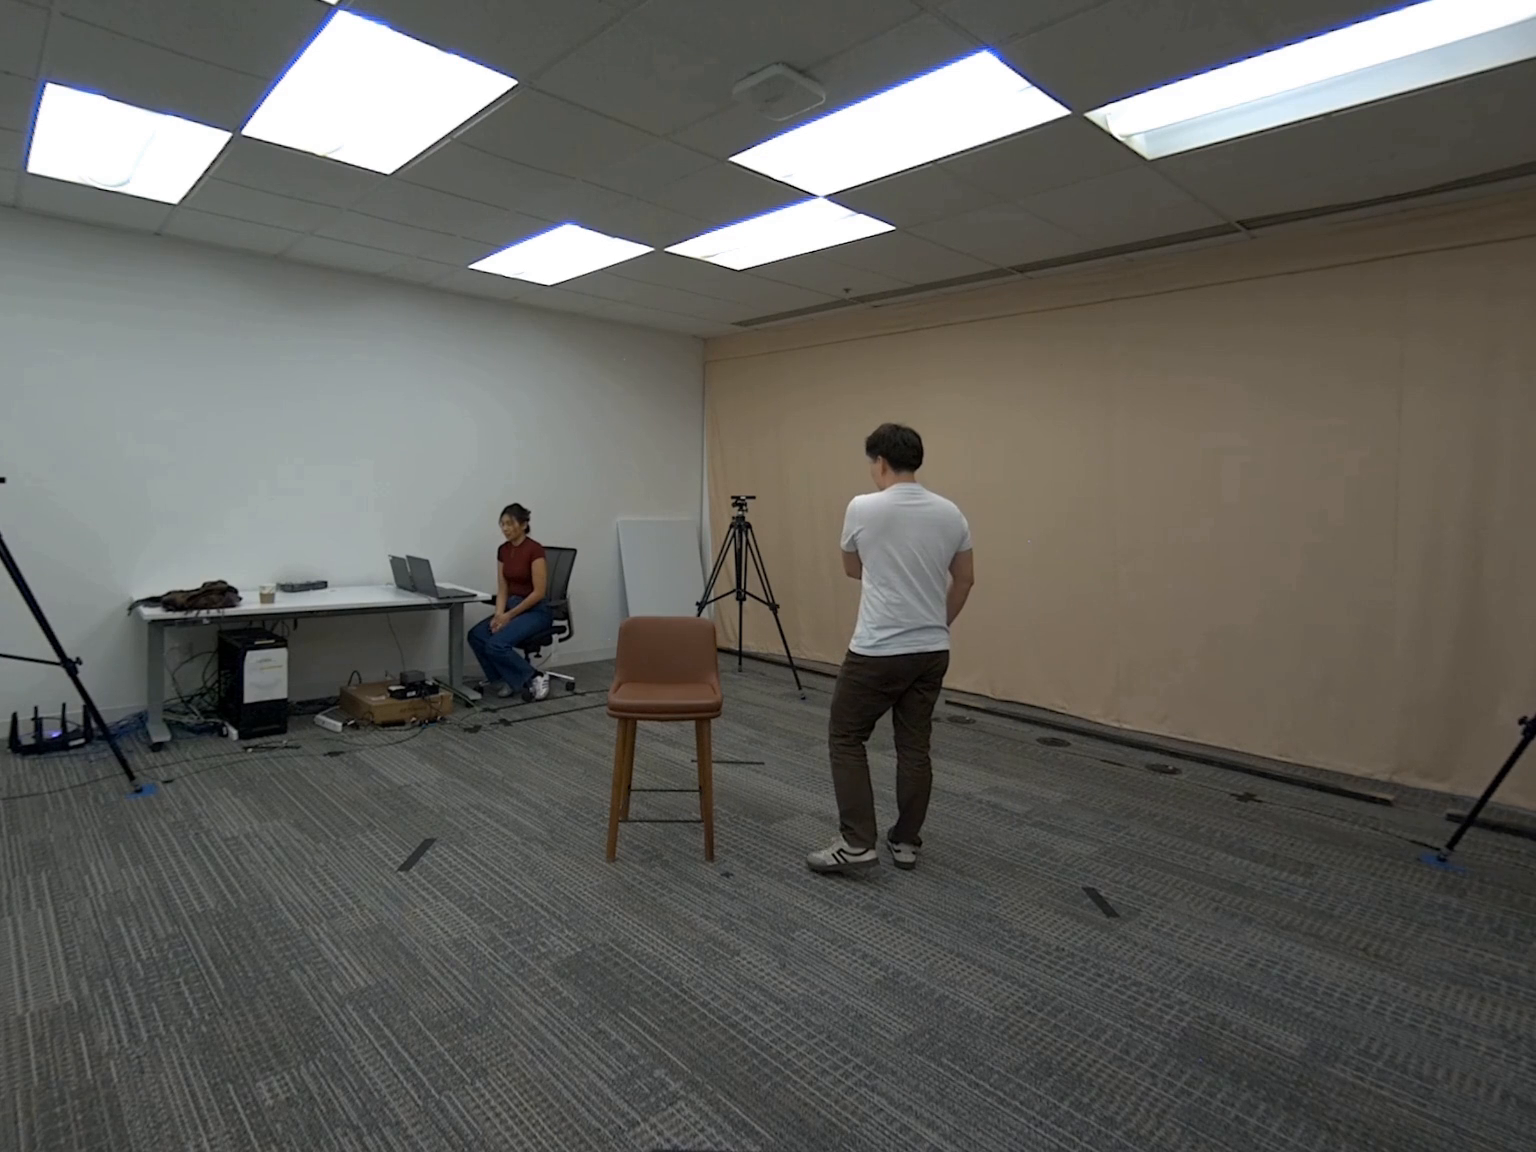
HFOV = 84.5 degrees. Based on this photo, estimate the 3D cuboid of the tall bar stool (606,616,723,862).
[{"bbox_3d":[-0.420,0.633,3.399,0.455,0.889,0.469,1,2,-4],"label":"tall bar stool"}]
